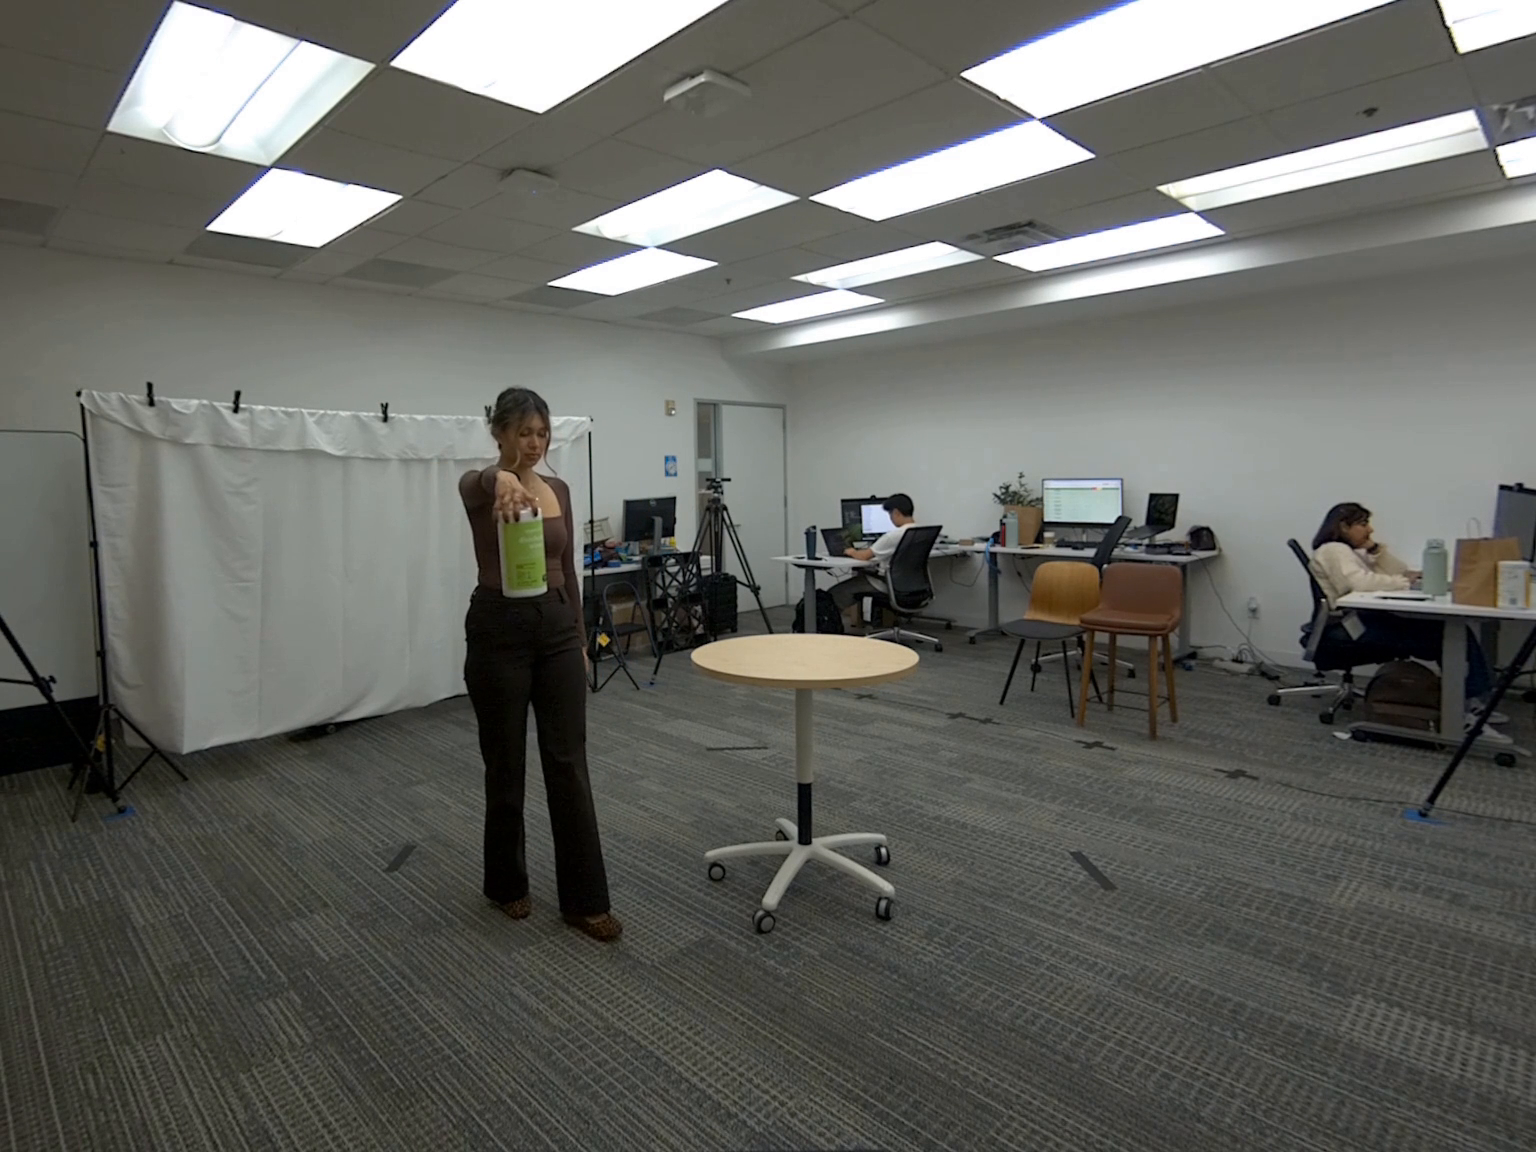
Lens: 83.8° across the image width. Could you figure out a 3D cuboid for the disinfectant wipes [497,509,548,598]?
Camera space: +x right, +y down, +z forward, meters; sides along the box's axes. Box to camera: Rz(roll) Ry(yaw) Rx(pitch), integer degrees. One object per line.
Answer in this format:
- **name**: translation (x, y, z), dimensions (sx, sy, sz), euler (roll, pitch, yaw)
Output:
- **disinfectant wipes**: translation (-0.614, -0.063, 2.135), dimensions (0.118, 0.216, 0.119), euler (-1, 8, -2)
